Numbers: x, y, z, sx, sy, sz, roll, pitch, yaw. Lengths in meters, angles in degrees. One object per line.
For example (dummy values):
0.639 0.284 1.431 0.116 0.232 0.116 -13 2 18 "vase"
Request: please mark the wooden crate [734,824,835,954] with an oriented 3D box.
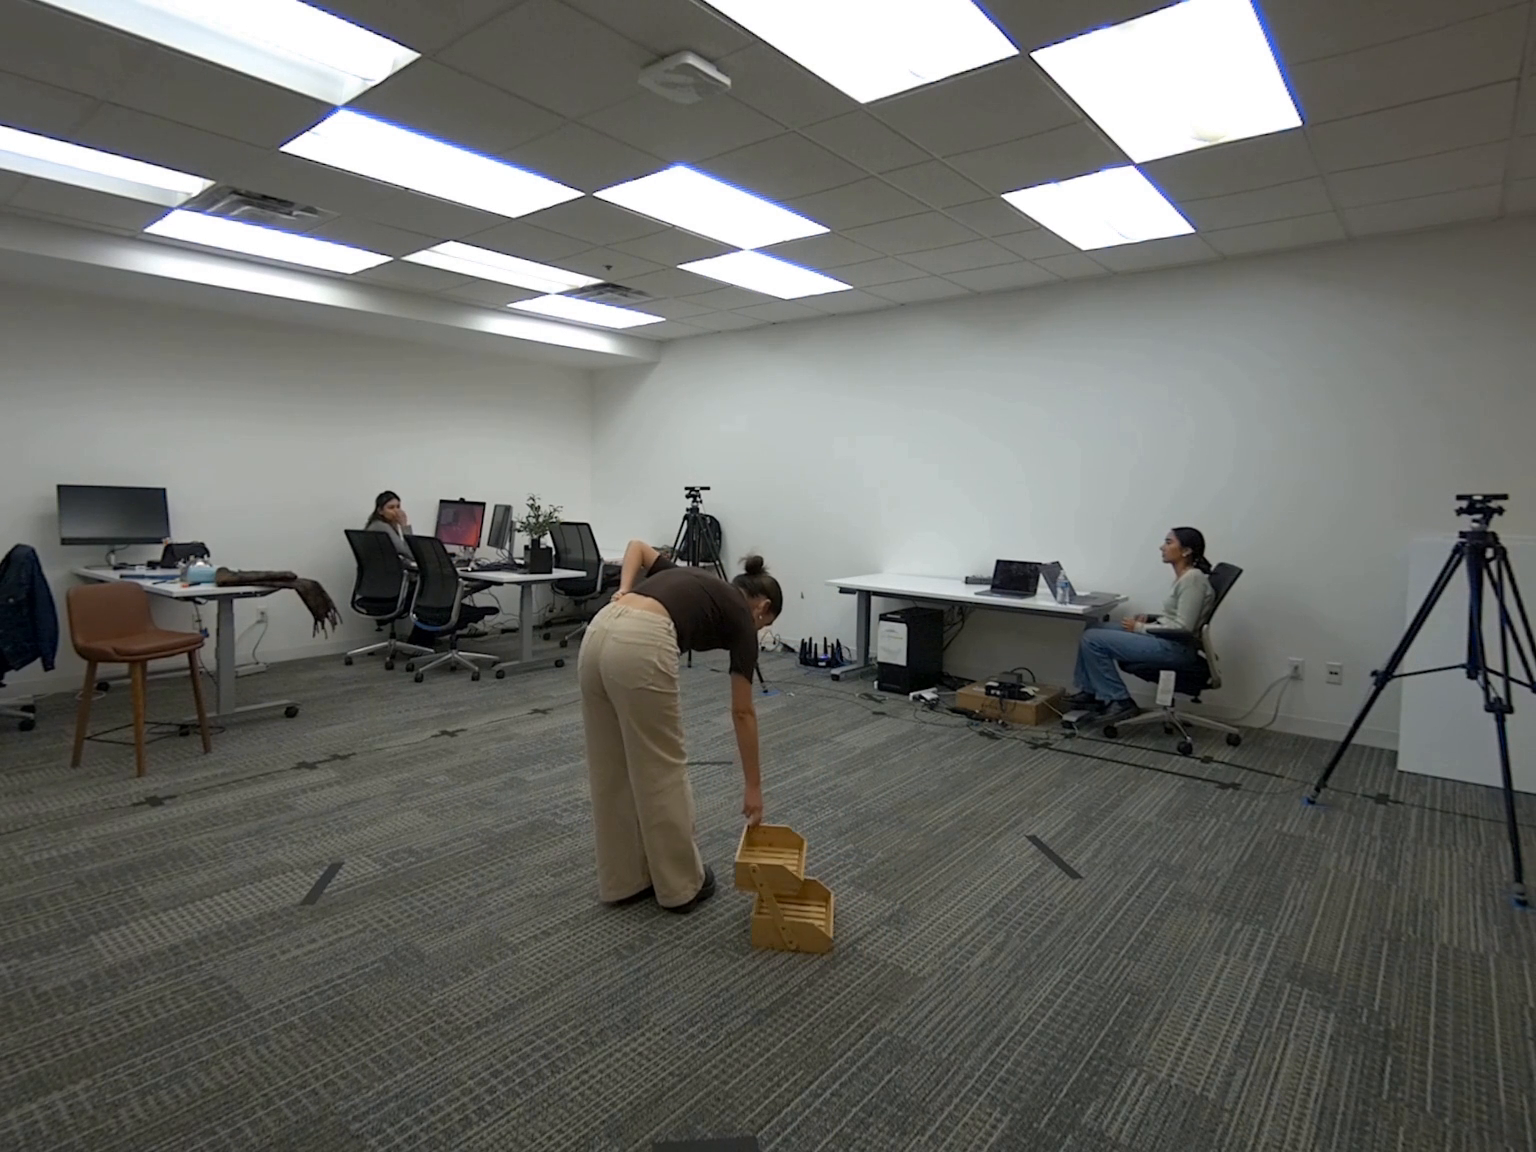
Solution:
0.059 0.978 2.703 0.304 0.272 0.323 2 4 6 "wooden crate"
